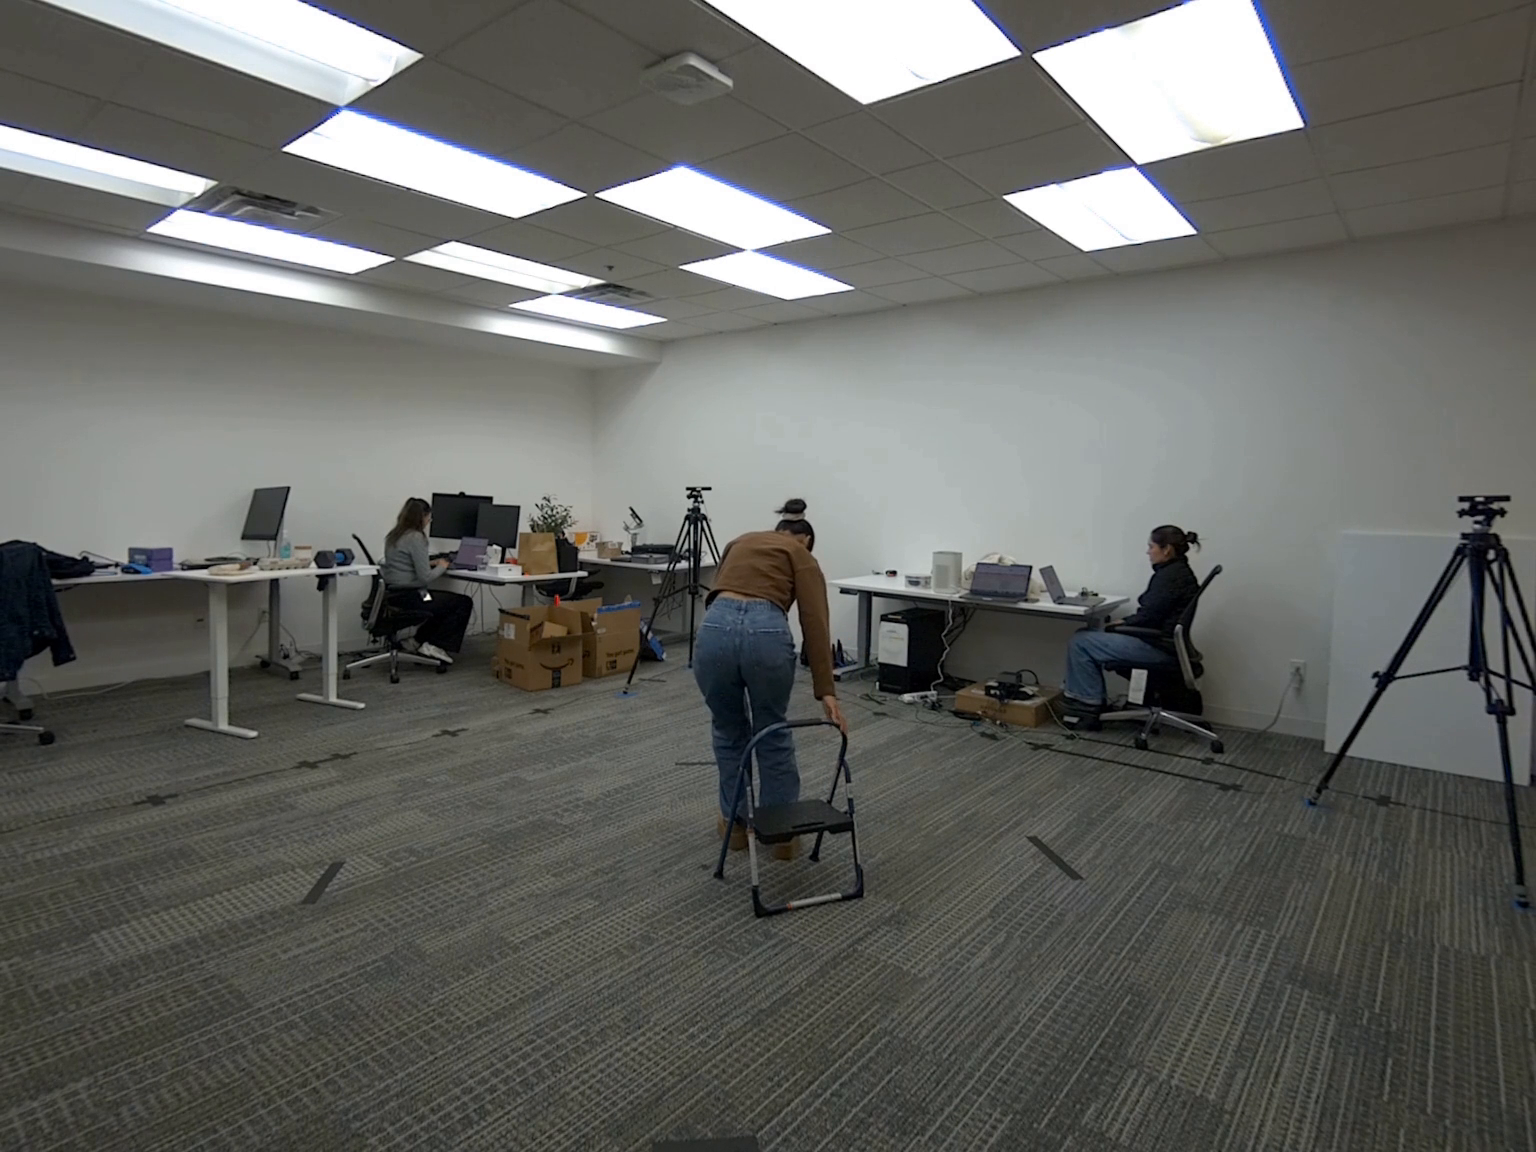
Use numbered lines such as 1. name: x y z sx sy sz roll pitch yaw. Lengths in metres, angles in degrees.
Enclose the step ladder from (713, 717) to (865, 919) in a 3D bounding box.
1. step ladder: 0.067 0.783 2.973 0.420 0.605 0.359 0 3 -26
